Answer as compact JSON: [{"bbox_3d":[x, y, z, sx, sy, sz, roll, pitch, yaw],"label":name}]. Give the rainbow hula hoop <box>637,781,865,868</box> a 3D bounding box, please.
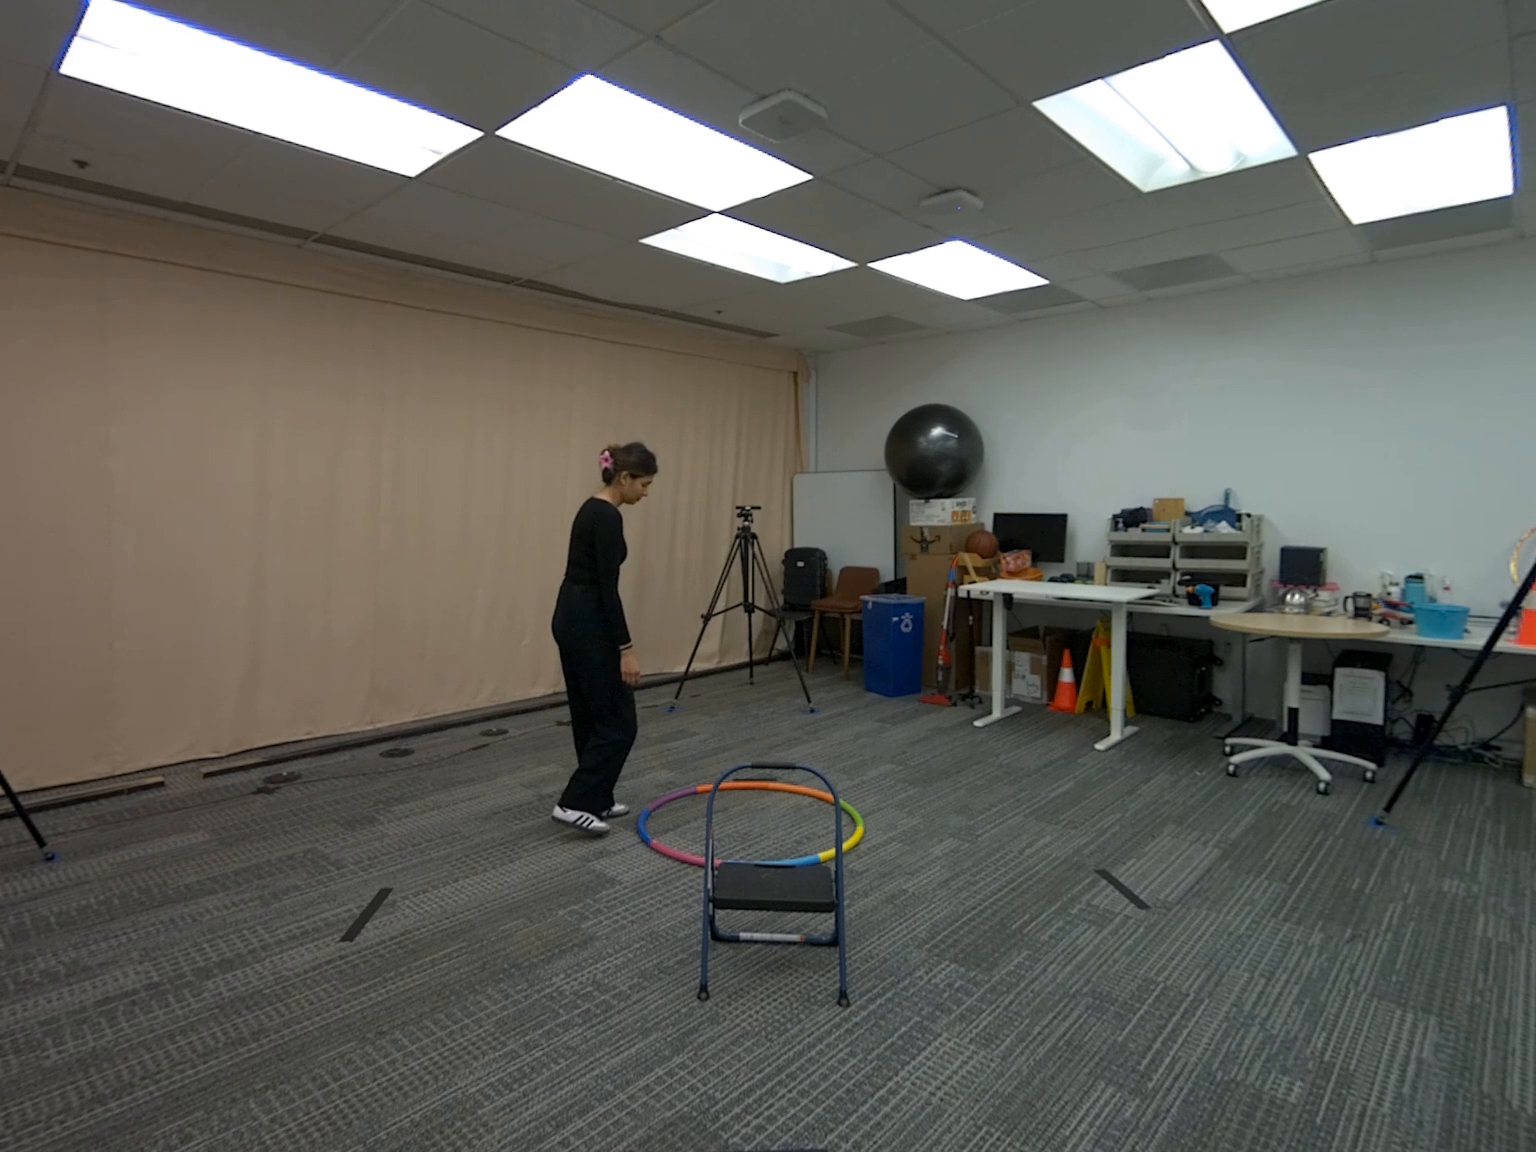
[{"bbox_3d":[-0.080,1.053,3.677,0.978,0.035,0.982,-1,5,-2],"label":"rainbow hula hoop"}]
